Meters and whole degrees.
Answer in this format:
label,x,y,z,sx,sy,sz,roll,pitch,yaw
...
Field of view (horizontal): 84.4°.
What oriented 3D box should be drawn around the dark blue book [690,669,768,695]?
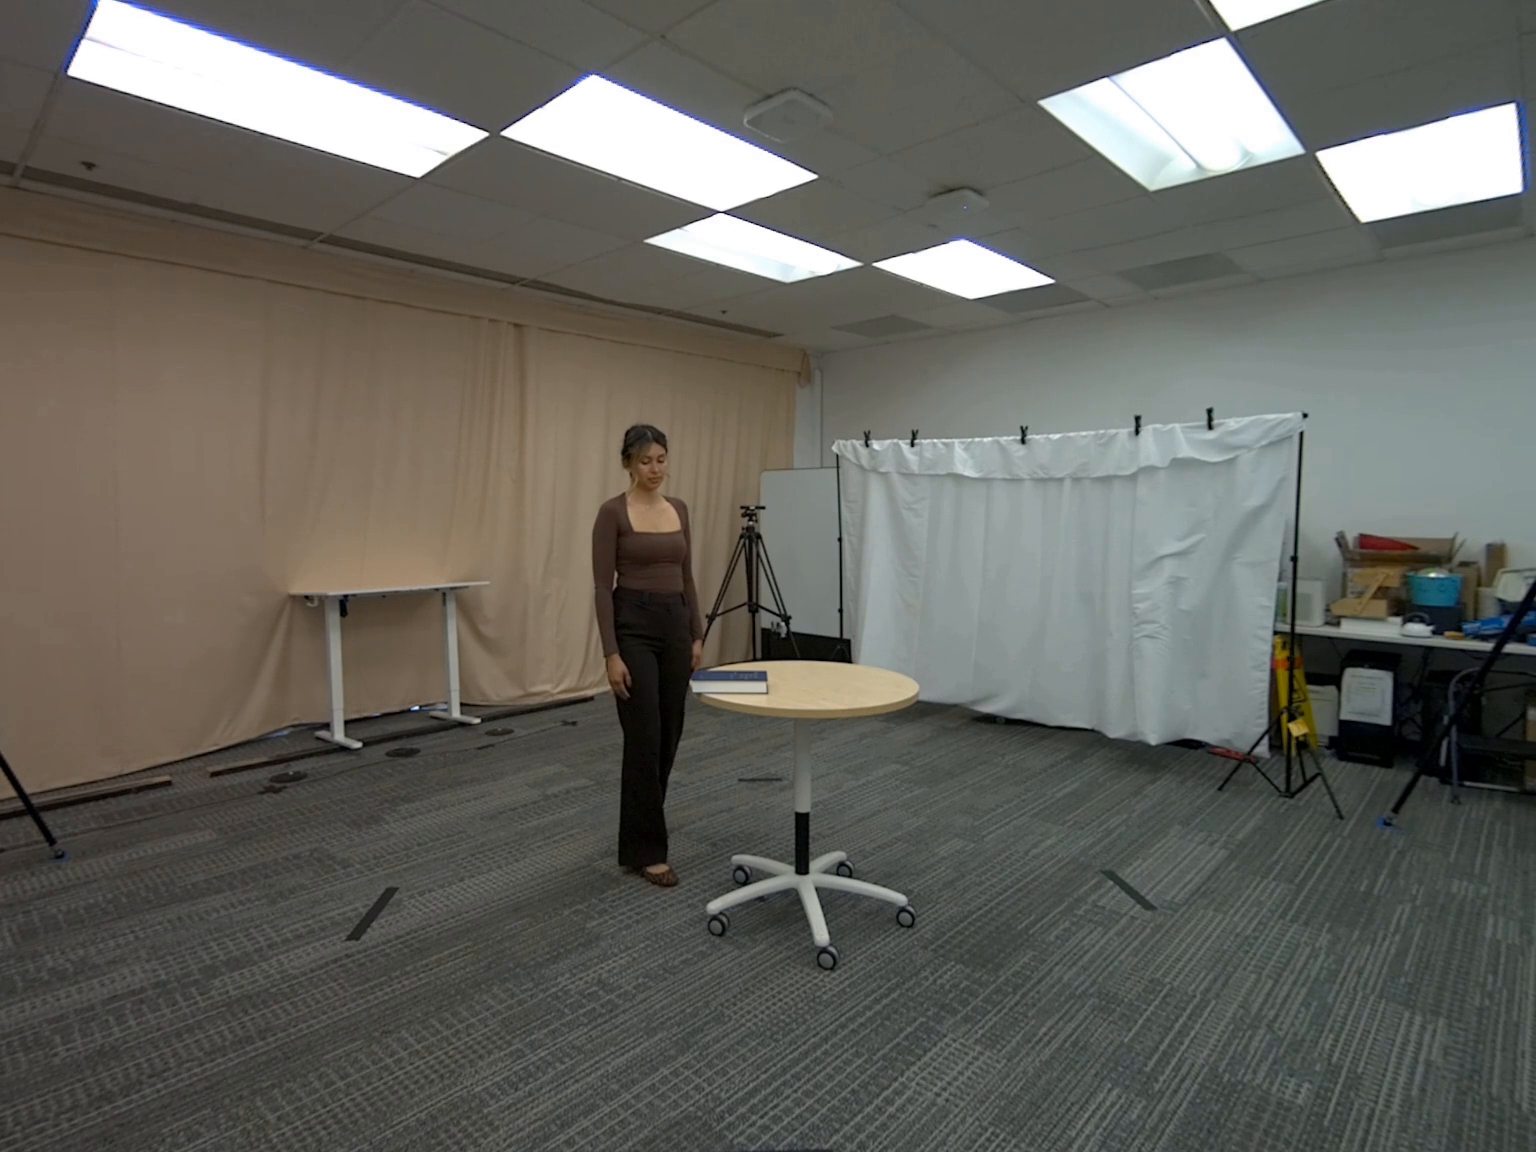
label,x,y,z,sx,sy,sz,roll,pitch,yaw
dark blue book,-0.113,0.347,2.730,0.245,0.045,0.163,0,5,1
